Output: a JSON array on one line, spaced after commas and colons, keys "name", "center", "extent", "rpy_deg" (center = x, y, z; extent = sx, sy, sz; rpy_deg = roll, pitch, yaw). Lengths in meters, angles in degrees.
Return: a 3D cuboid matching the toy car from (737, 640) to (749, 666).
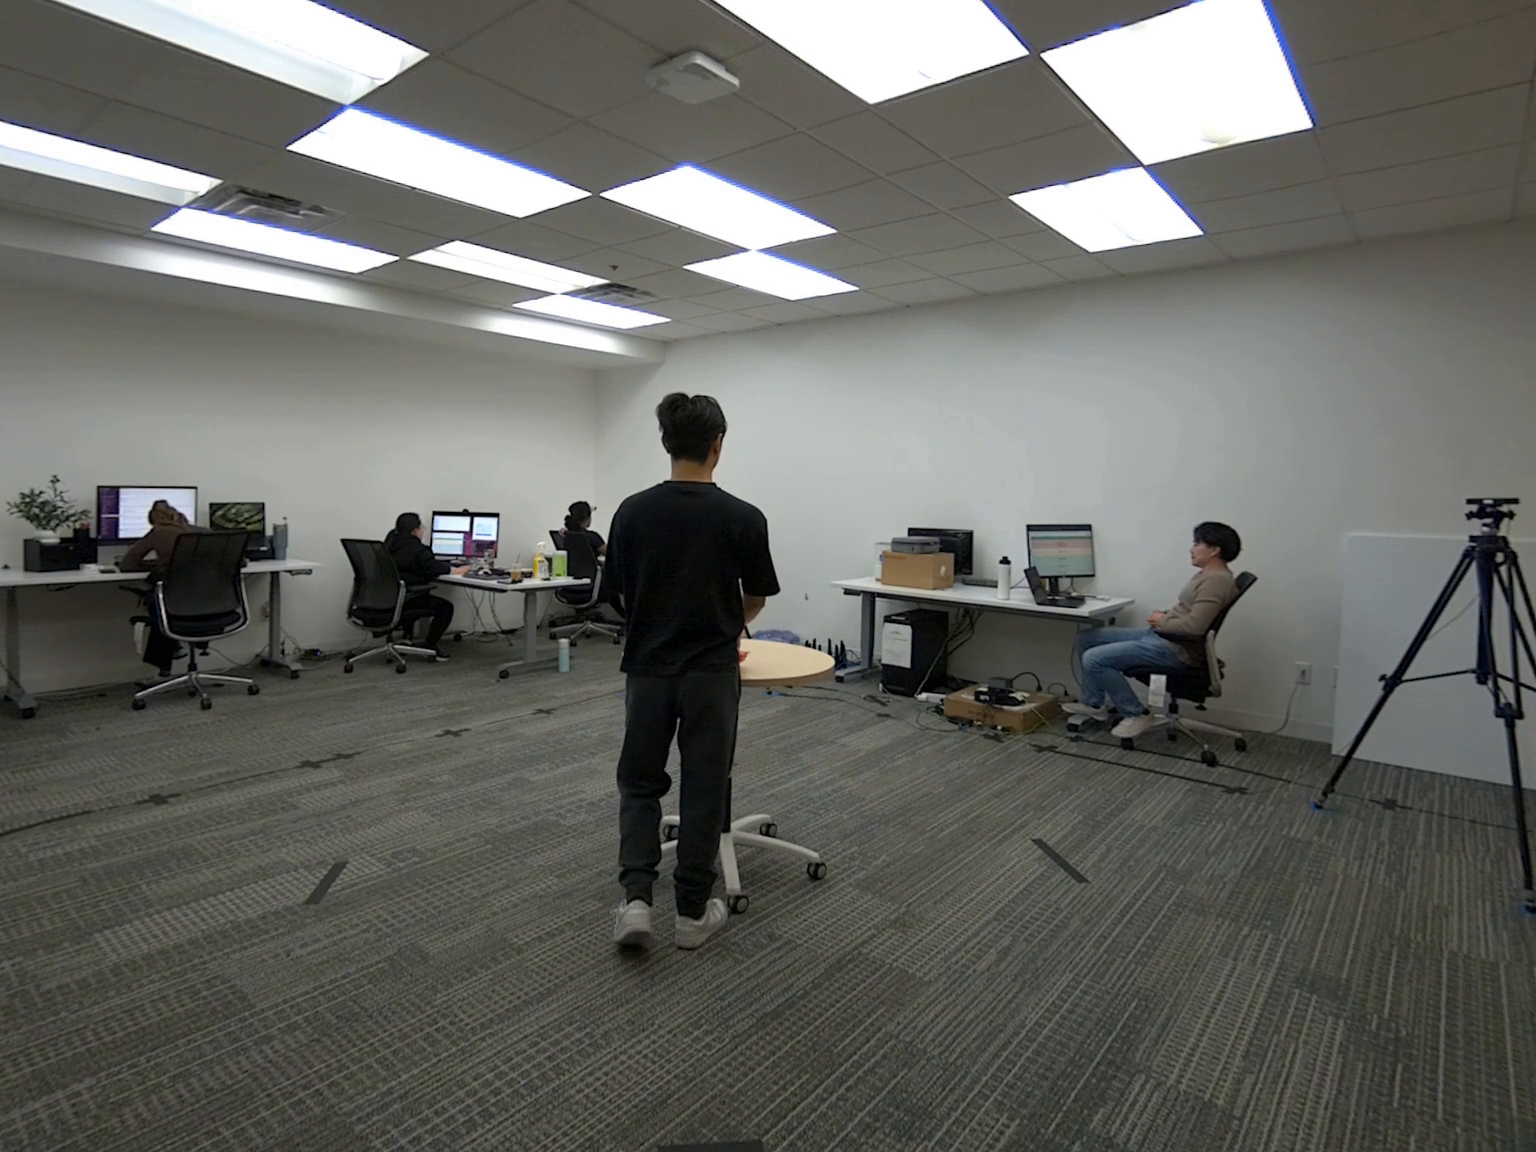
[{"name": "toy car", "center": [-0.191, 0.272, 2.883], "extent": [0.259, 0.083, 0.128], "rpy_deg": [-8, 0, 19]}]
